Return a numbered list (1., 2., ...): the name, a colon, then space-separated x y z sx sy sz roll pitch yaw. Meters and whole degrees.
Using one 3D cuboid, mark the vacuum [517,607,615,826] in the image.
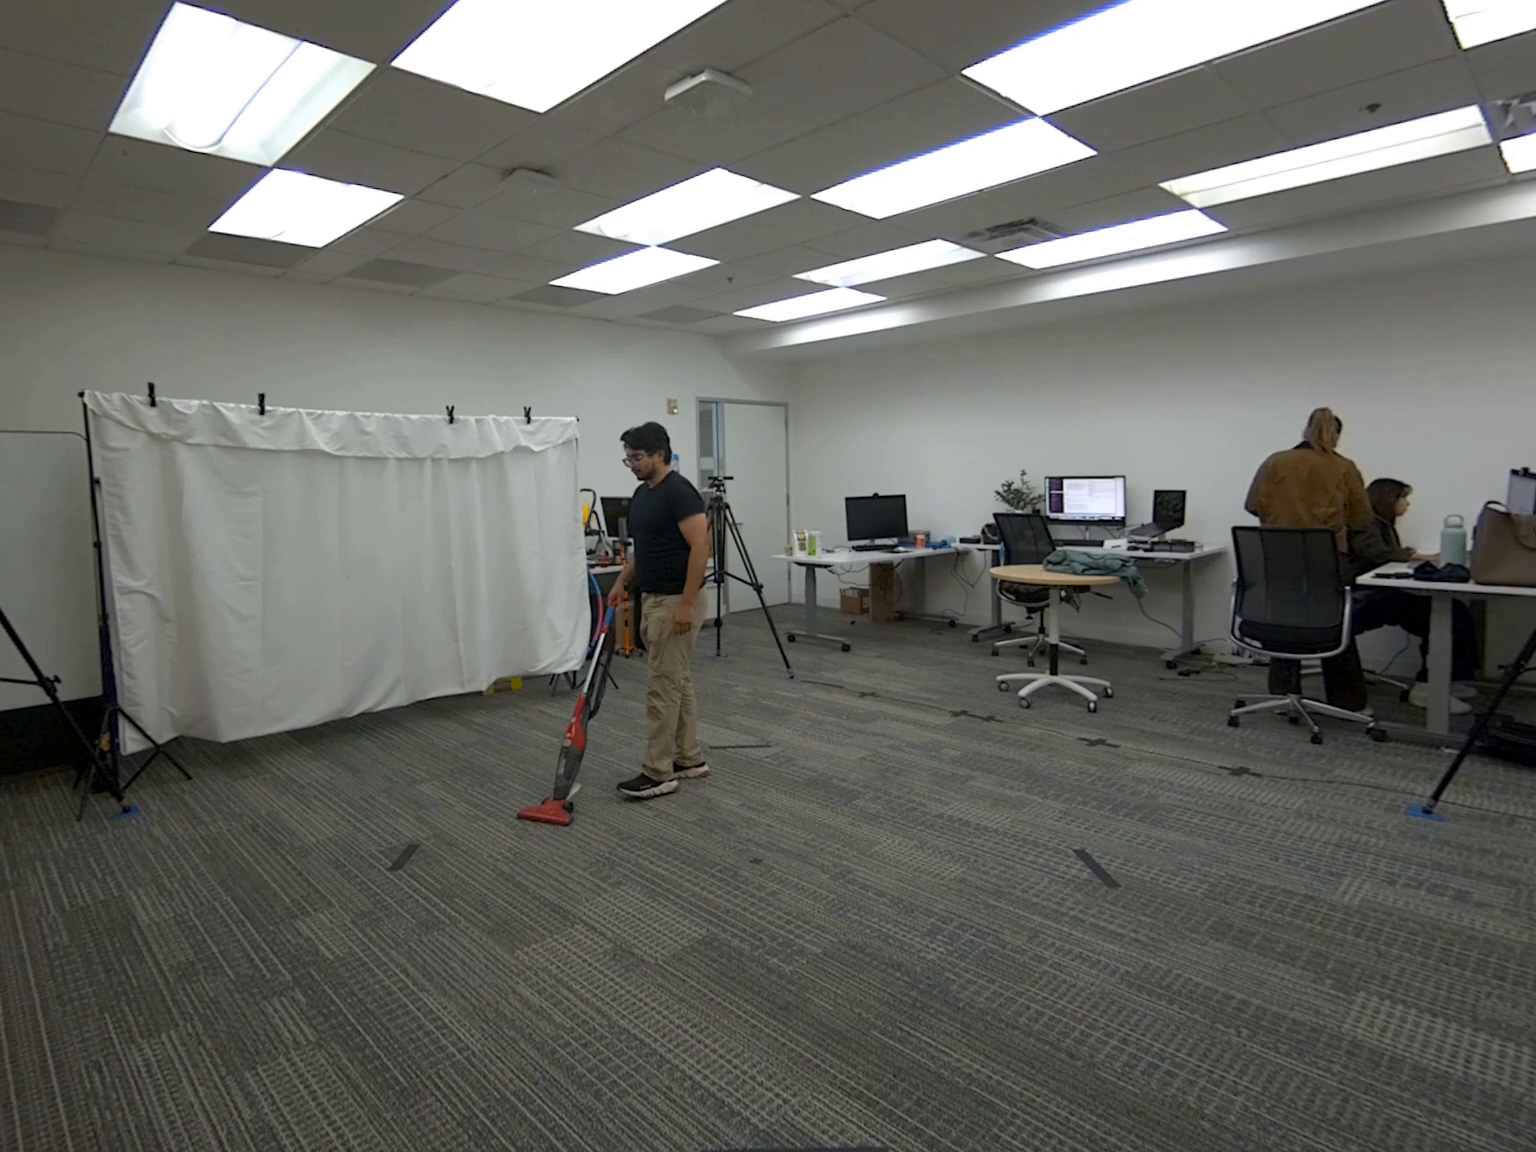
1. vacuum: -0.804 0.547 3.820 0.258 1.067 0.138 -2 -32 23
